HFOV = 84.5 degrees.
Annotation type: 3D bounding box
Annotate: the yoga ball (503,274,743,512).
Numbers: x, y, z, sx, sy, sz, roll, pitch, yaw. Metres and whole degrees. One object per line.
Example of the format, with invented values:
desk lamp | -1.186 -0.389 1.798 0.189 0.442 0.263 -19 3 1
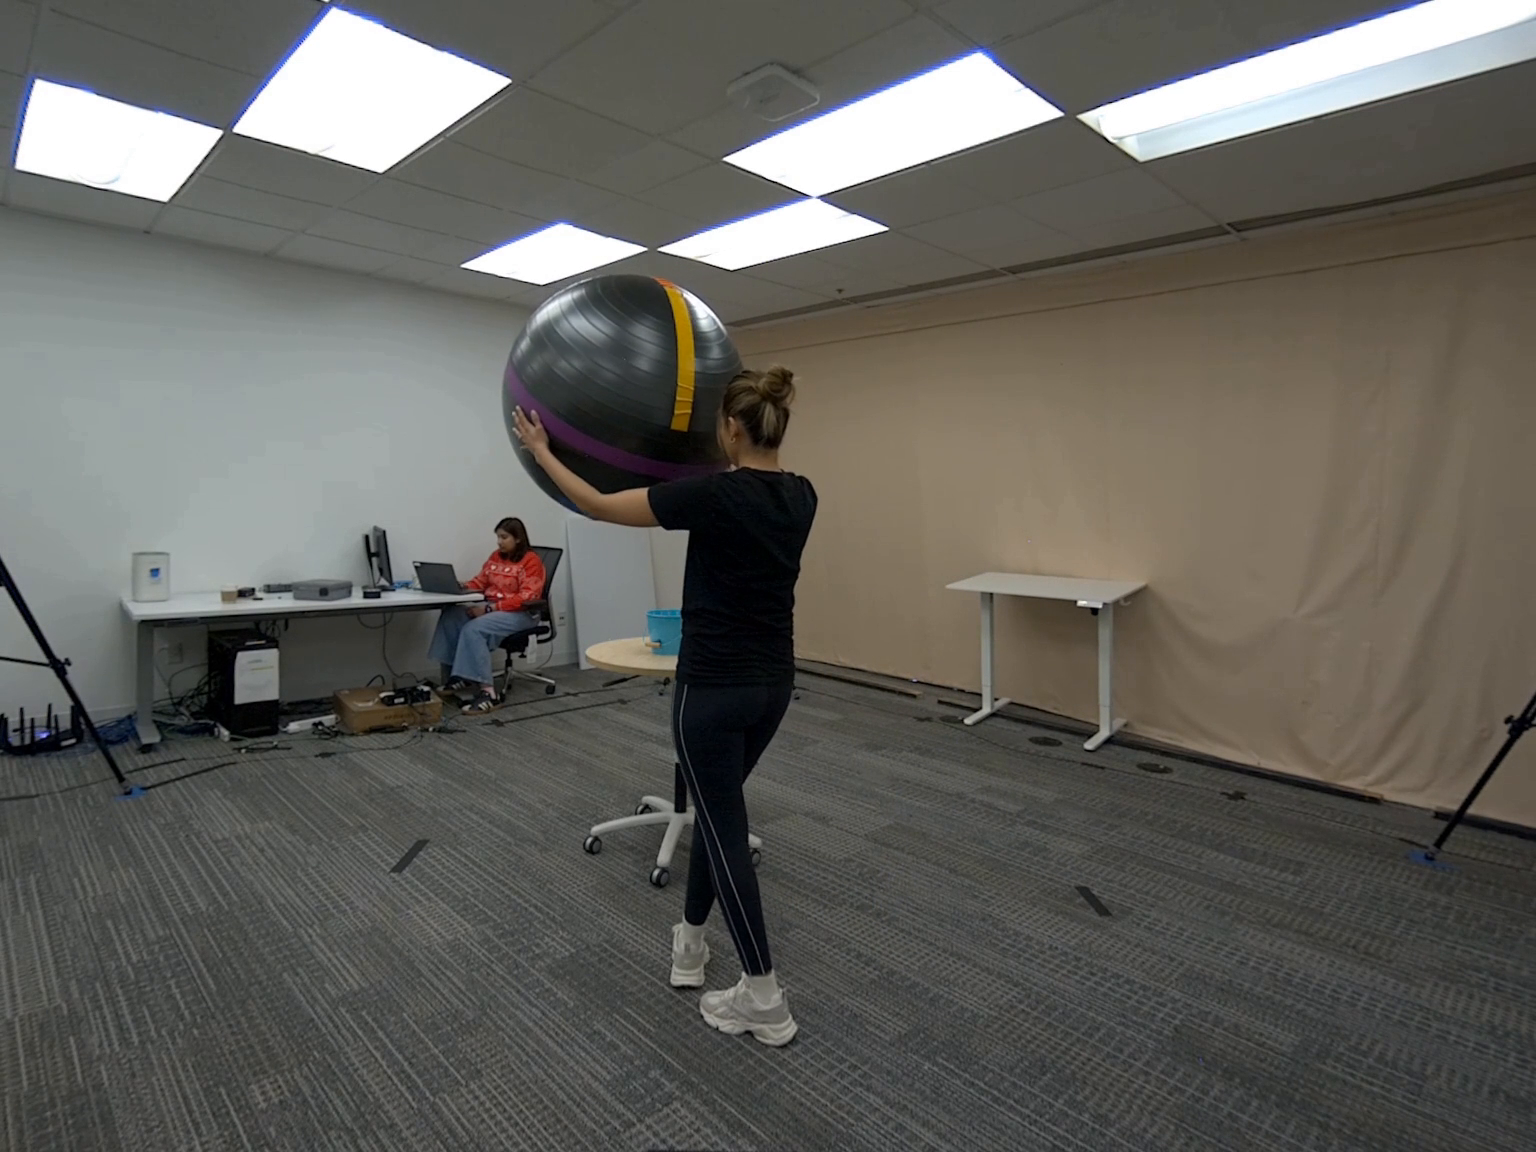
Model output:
yoga ball | -0.441 -0.541 2.617 0.757 0.756 0.761 1 4 -1
